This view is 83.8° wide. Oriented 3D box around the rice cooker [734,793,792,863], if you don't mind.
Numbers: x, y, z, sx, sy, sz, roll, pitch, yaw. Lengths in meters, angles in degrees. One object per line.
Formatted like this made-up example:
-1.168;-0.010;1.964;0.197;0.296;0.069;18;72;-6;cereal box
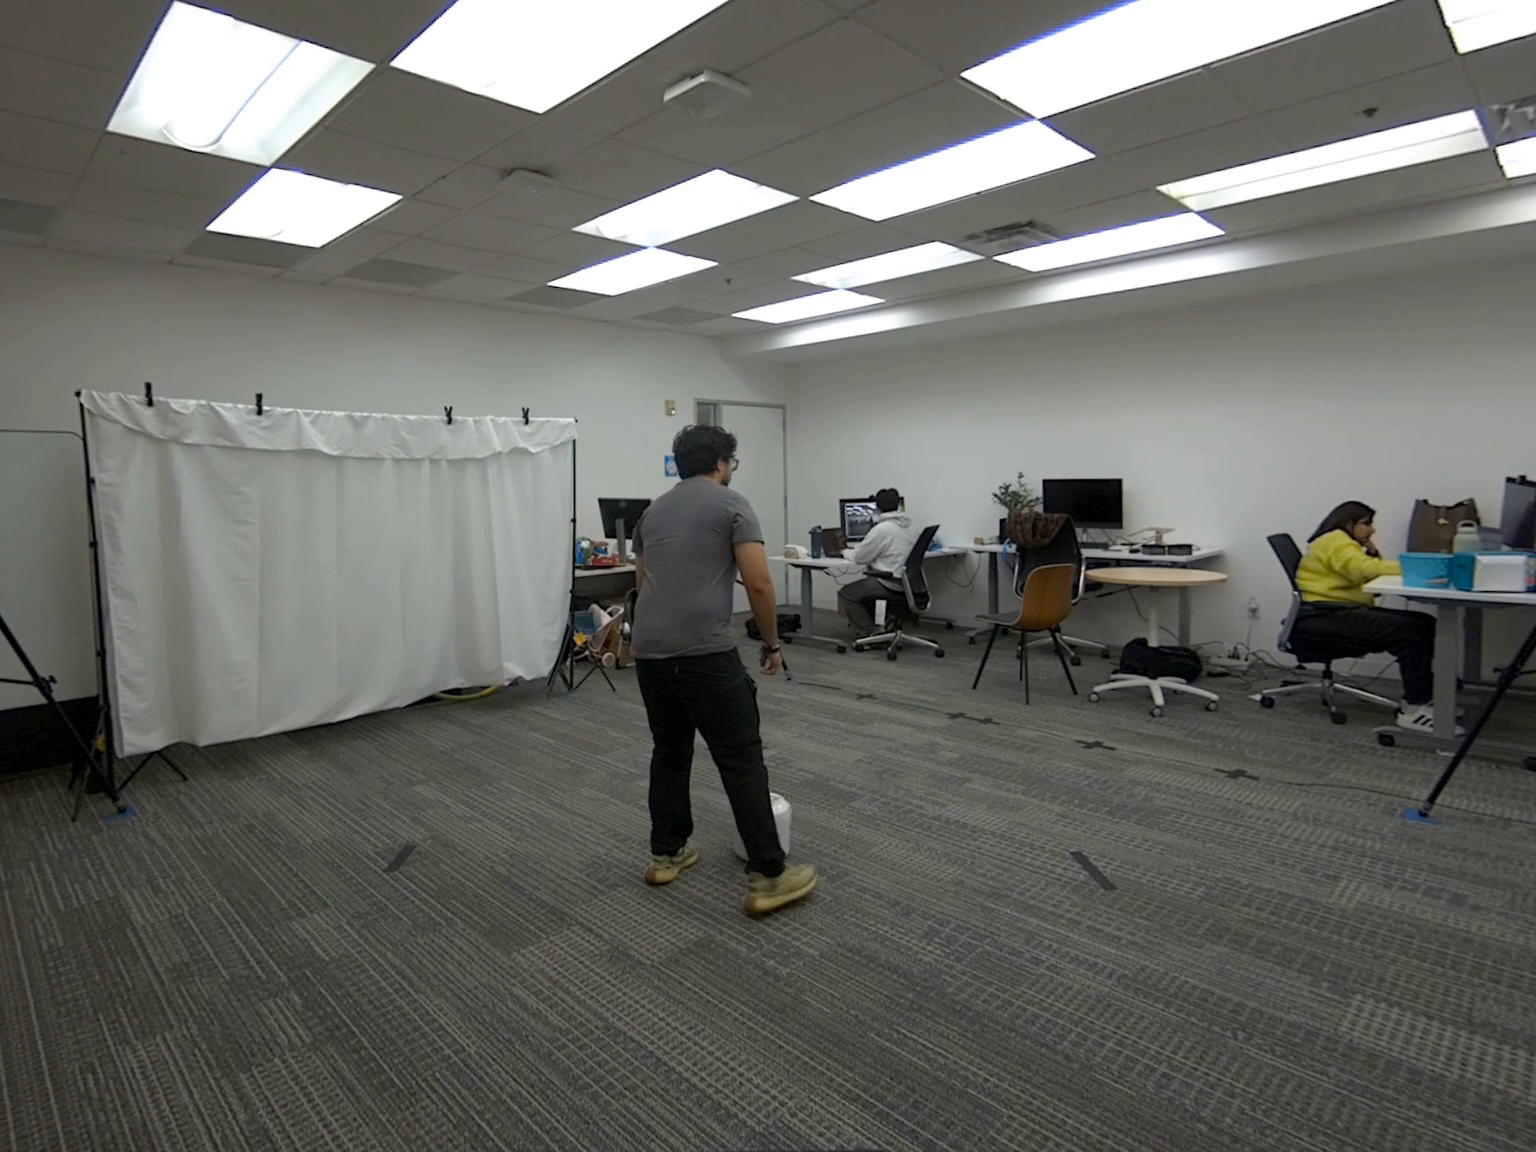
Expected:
-0.015;0.918;3.170;0.216;0.232;0.222;-3;4;-21;rice cooker
